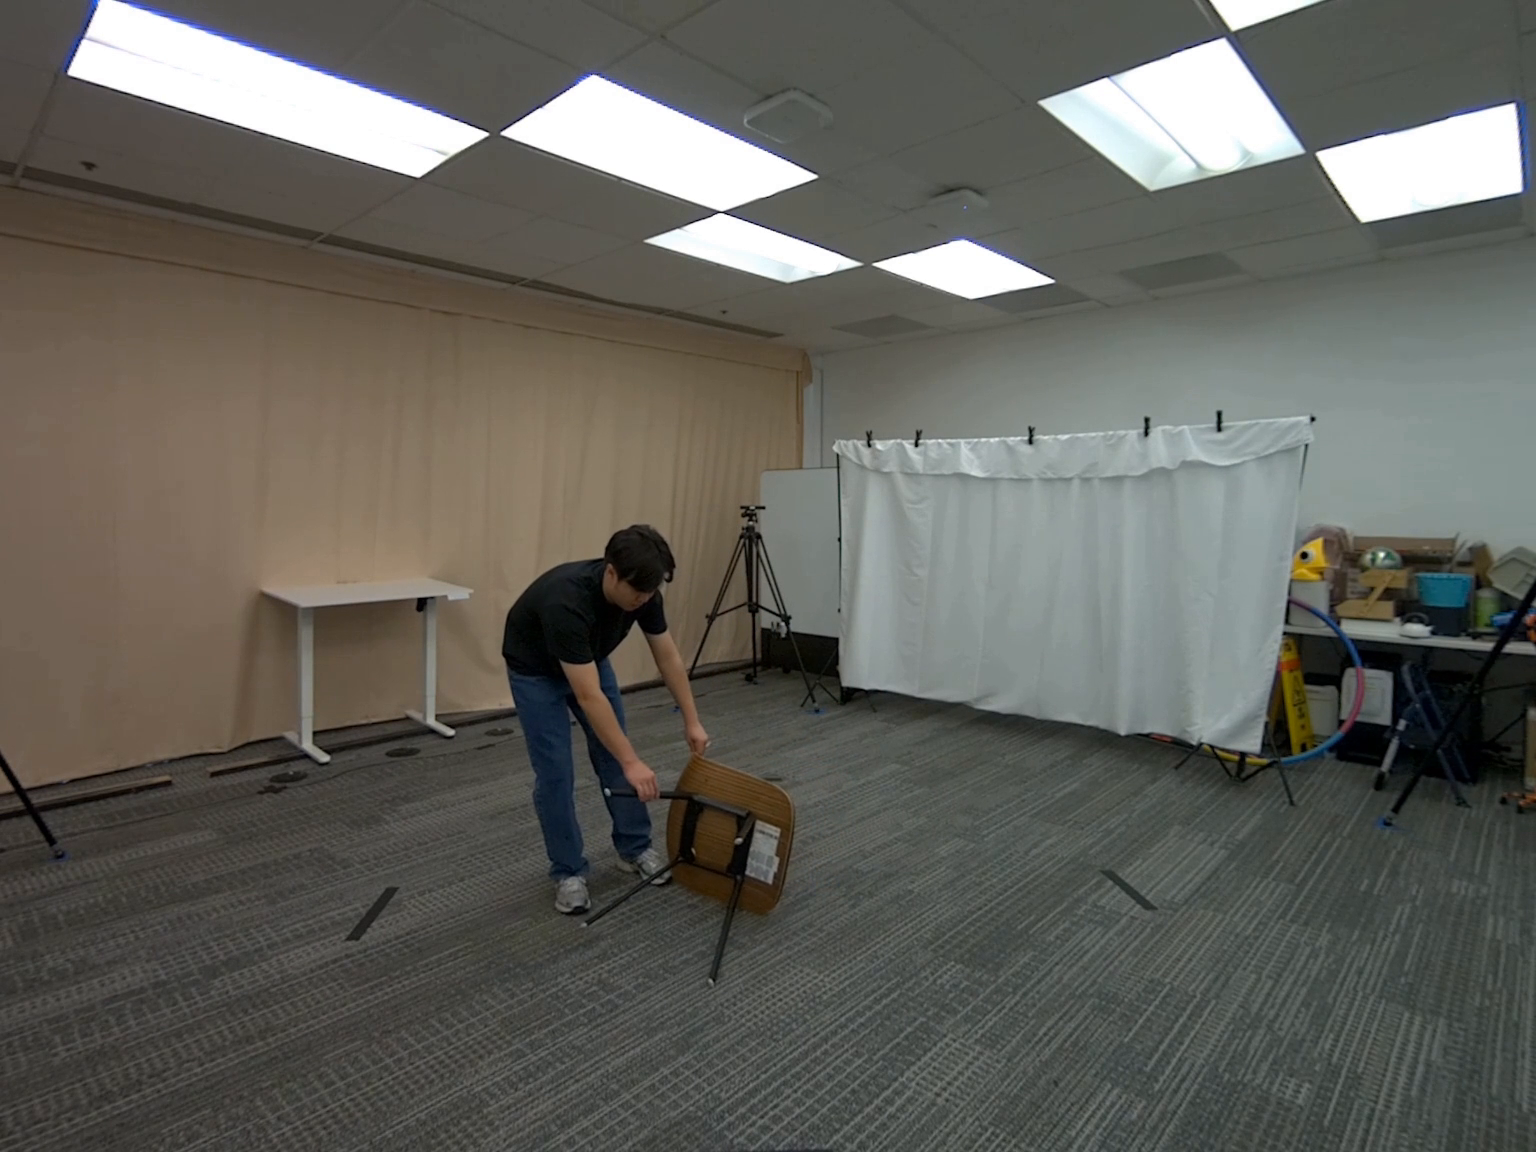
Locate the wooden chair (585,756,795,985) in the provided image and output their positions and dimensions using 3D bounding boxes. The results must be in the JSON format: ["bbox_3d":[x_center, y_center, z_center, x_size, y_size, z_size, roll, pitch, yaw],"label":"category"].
[{"bbox_3d":[-0.171,0.904,2.886,0.533,0.477,0.863,11,6,15],"label":"wooden chair"}]
